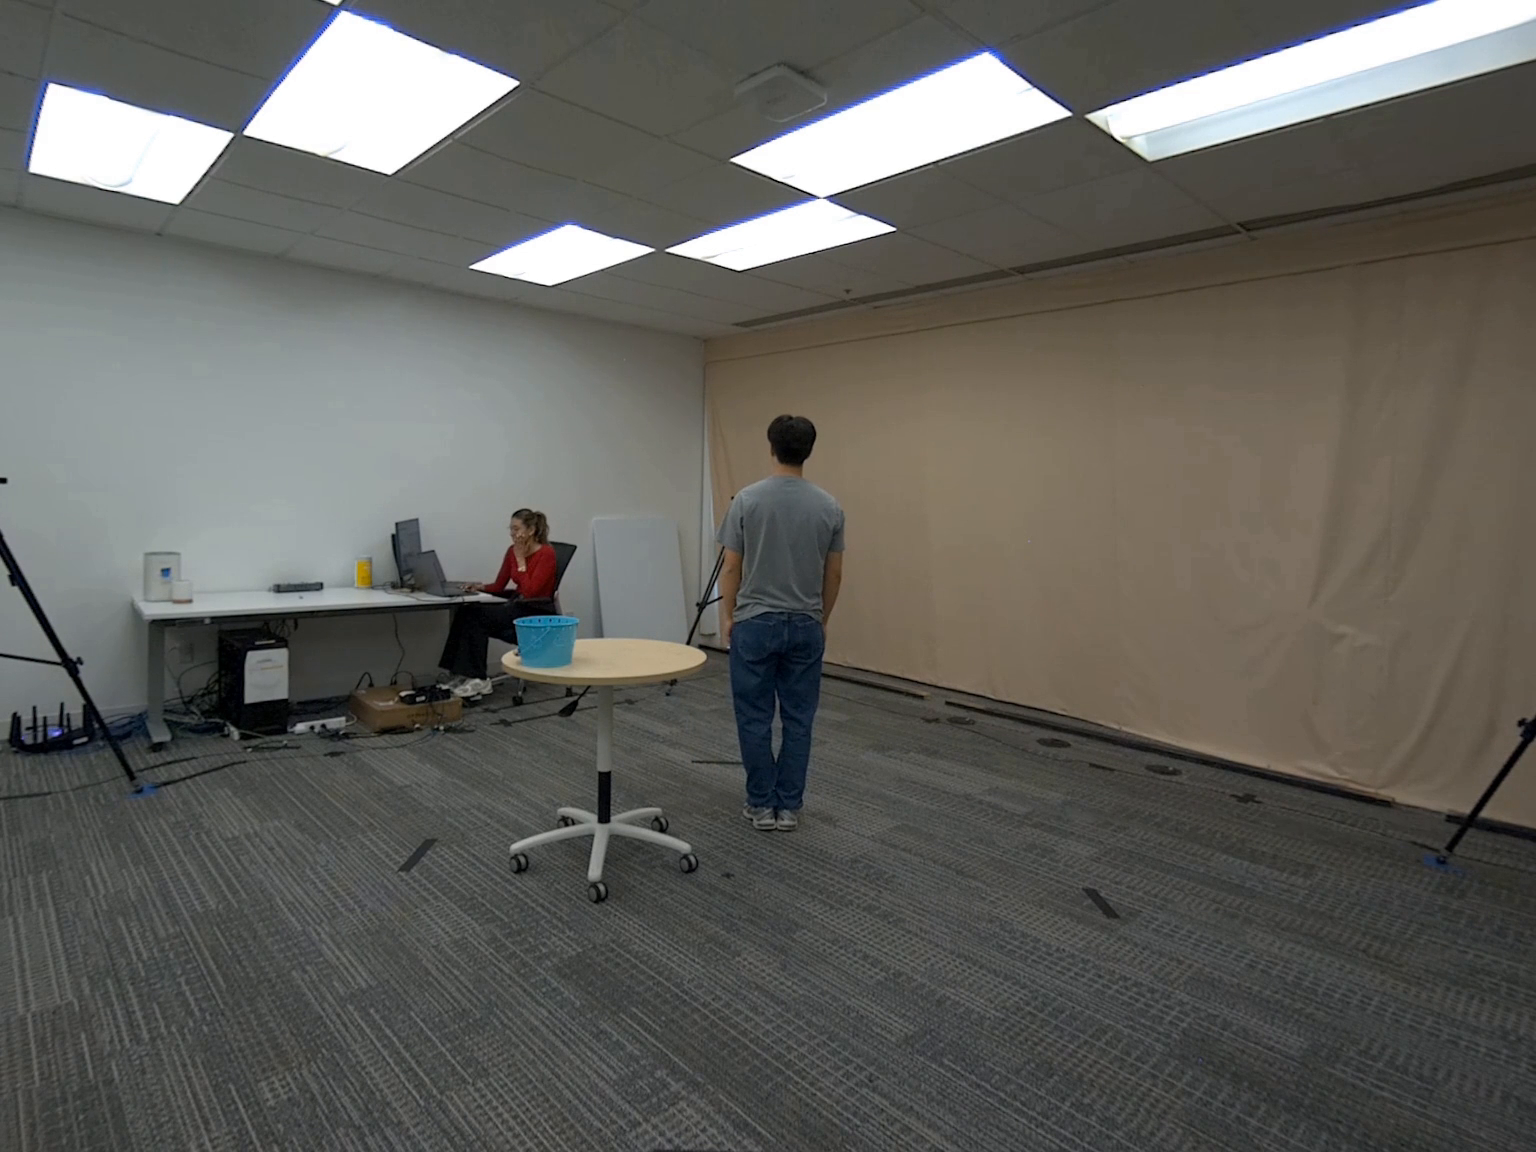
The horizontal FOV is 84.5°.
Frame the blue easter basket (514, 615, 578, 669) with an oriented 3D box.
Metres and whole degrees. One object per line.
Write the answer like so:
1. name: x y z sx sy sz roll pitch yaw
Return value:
1. blue easter basket: -0.819 0.241 3.048 0.243 0.155 0.245 0 6 -1
